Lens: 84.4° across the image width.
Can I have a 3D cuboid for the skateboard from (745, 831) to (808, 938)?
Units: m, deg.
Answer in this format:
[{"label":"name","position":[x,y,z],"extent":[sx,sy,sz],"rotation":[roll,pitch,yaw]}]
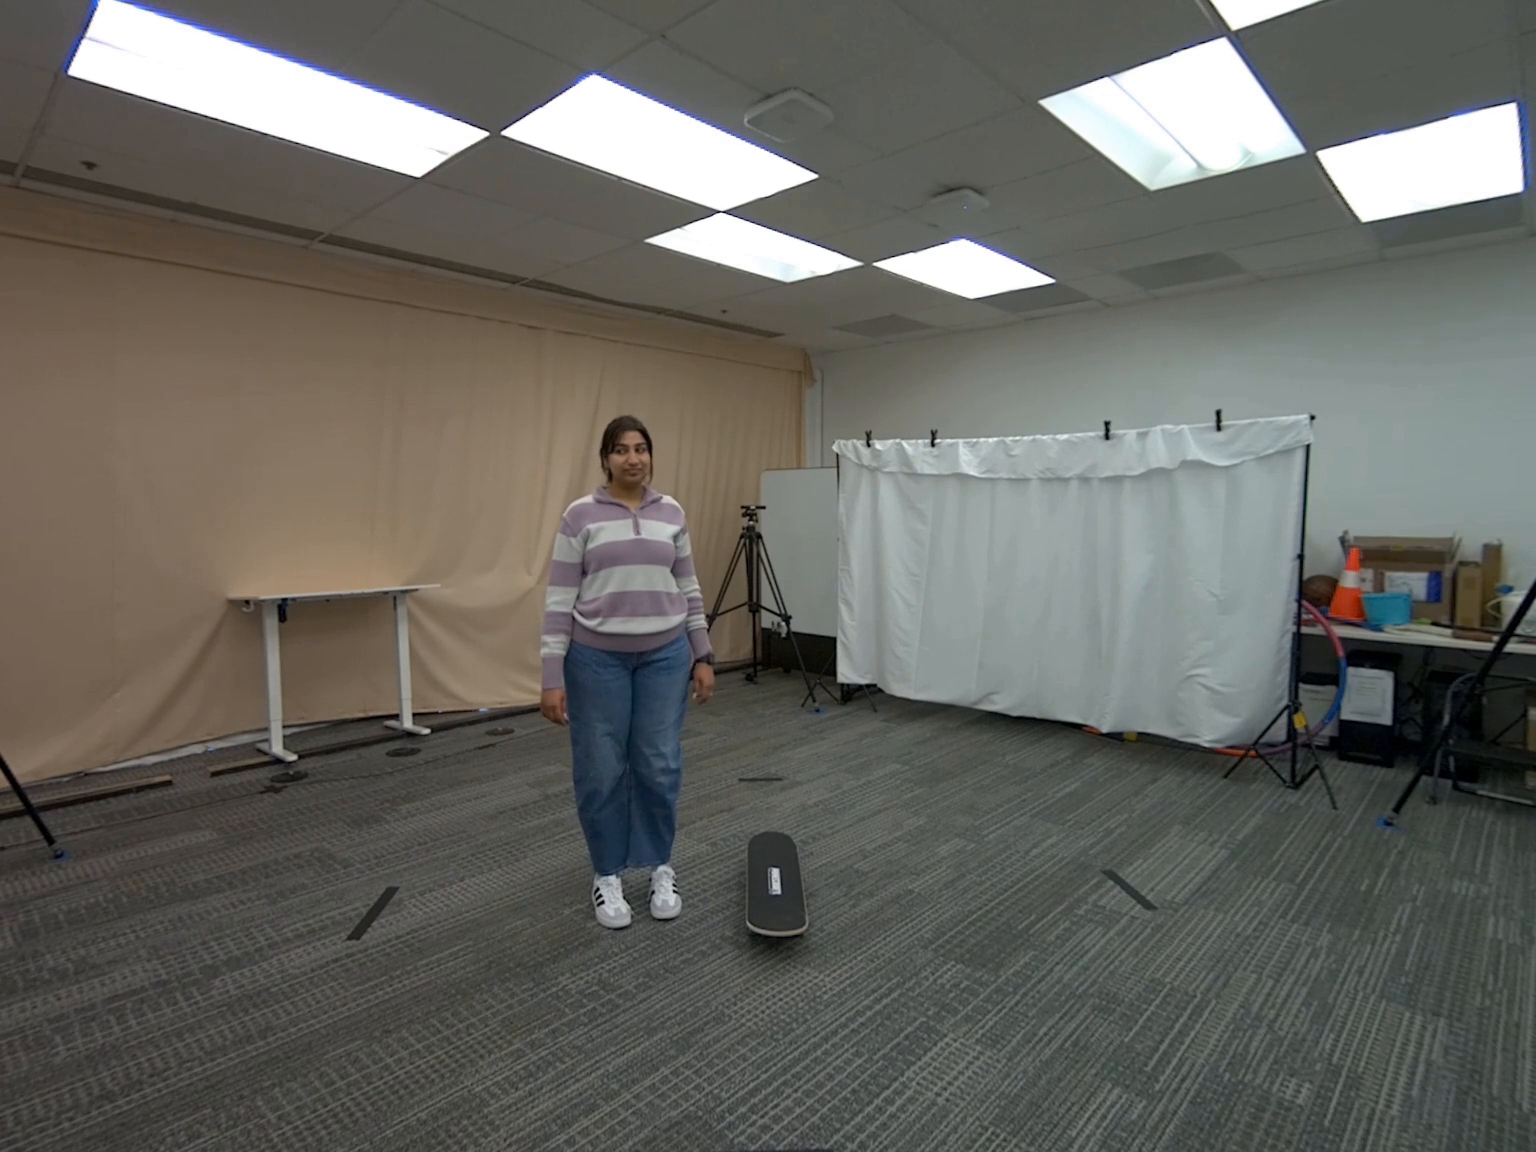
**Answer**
[{"label":"skateboard","position":[0.024,1.086,2.928],"extent":[0.193,0.110,0.787],"rotation":[-1,5,-1]}]
